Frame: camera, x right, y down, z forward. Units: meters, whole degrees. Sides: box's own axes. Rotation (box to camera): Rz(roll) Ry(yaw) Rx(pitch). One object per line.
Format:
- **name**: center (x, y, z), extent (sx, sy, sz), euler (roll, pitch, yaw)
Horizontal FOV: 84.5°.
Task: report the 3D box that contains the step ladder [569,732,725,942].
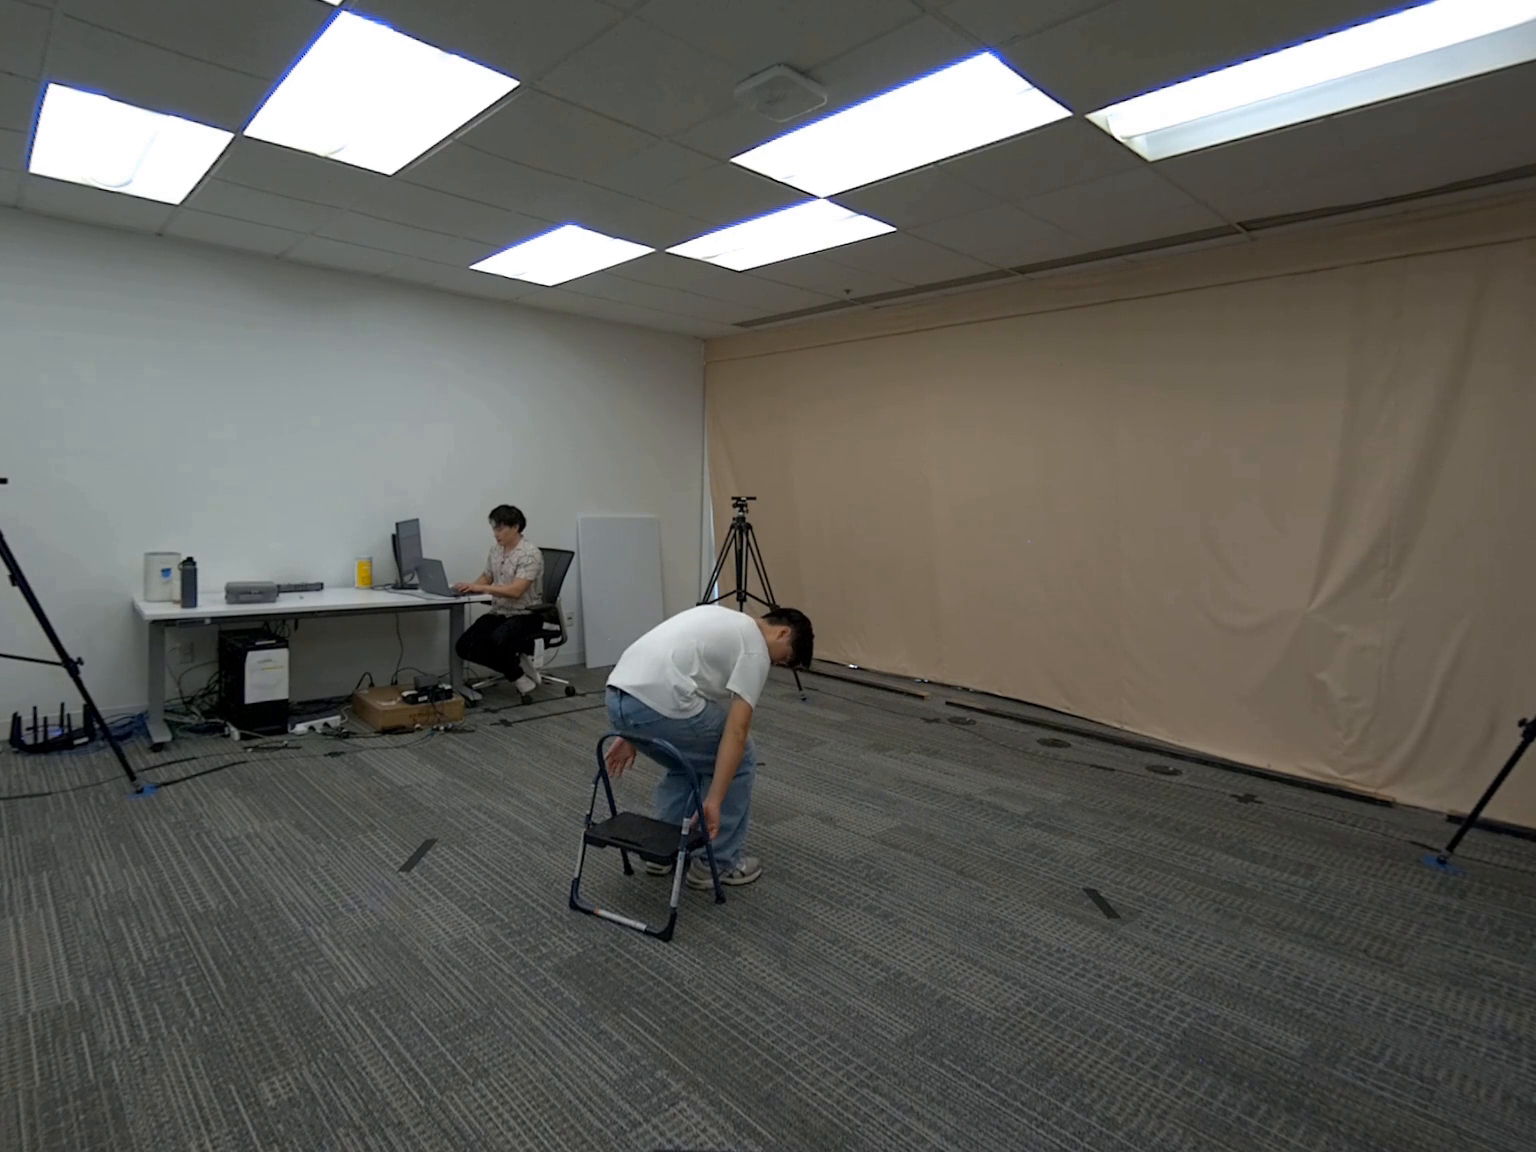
- **step ladder**: center (-0.416, 0.819, 2.852), extent (0.440, 0.604, 0.343), euler (4, 5, 29)
